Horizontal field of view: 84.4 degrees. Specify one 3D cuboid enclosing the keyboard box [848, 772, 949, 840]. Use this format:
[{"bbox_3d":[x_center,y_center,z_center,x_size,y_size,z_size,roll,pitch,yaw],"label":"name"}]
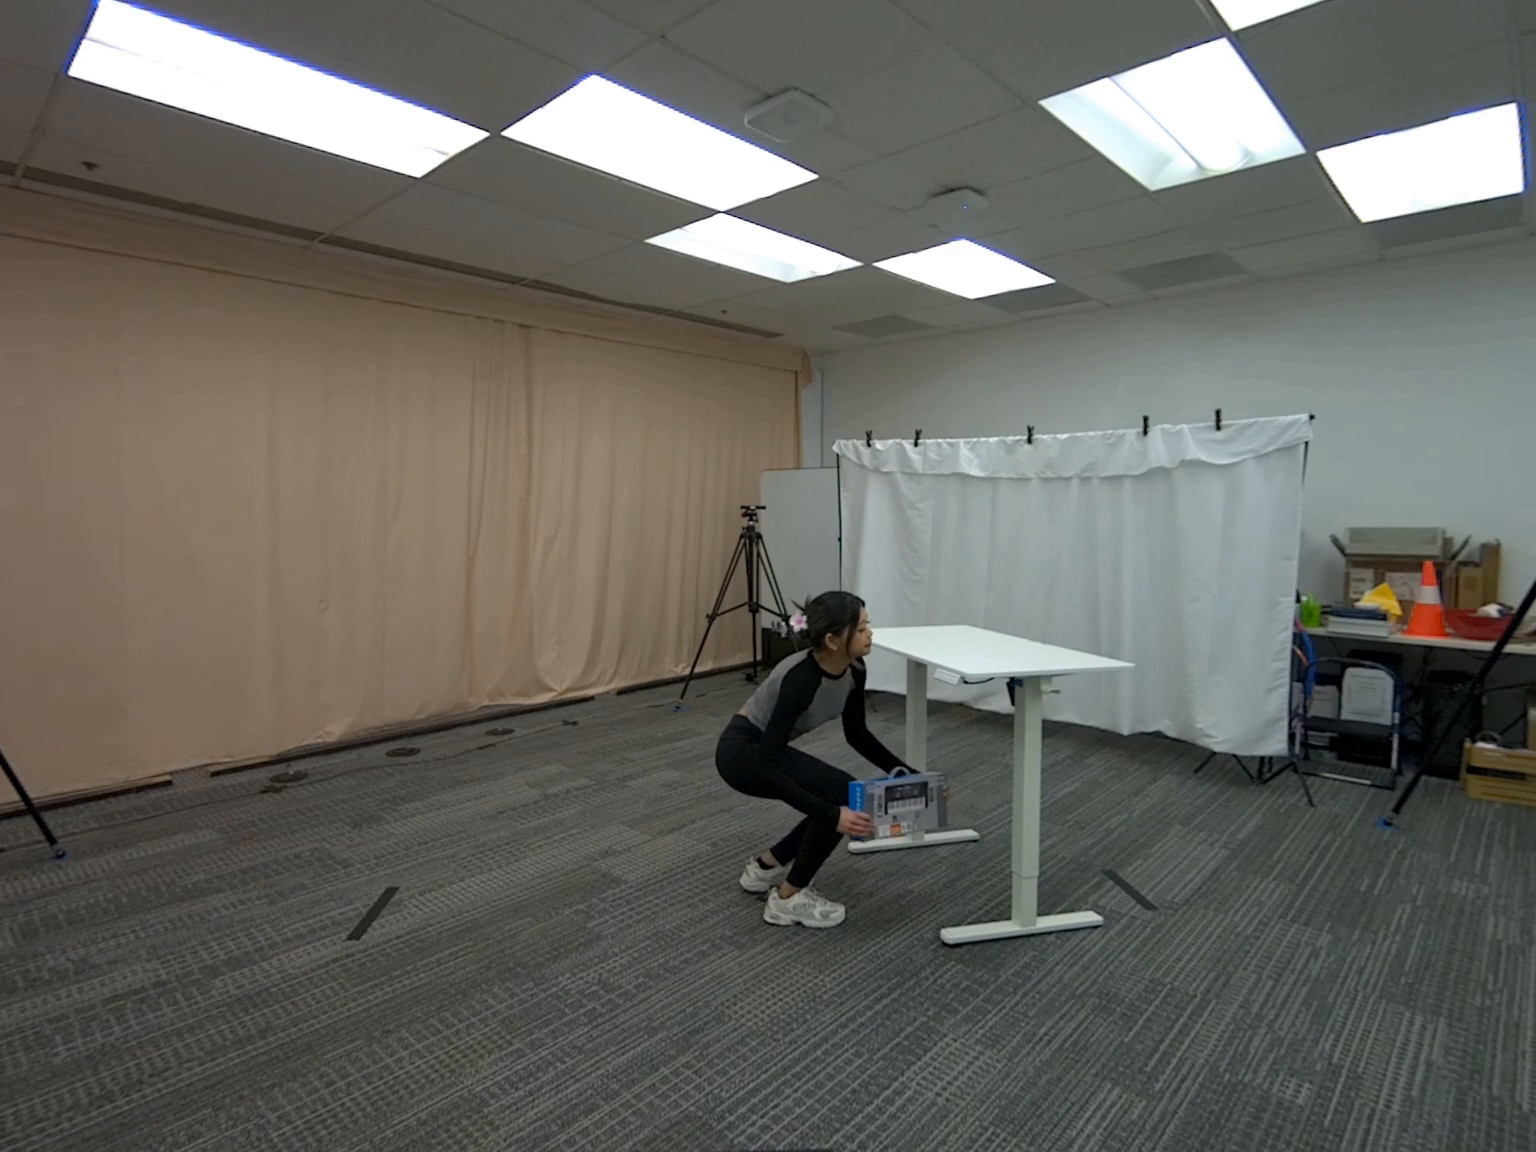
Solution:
[{"bbox_3d":[0.425,0.737,2.689,0.422,0.177,0.061,7,-11,-41],"label":"keyboard box"}]
